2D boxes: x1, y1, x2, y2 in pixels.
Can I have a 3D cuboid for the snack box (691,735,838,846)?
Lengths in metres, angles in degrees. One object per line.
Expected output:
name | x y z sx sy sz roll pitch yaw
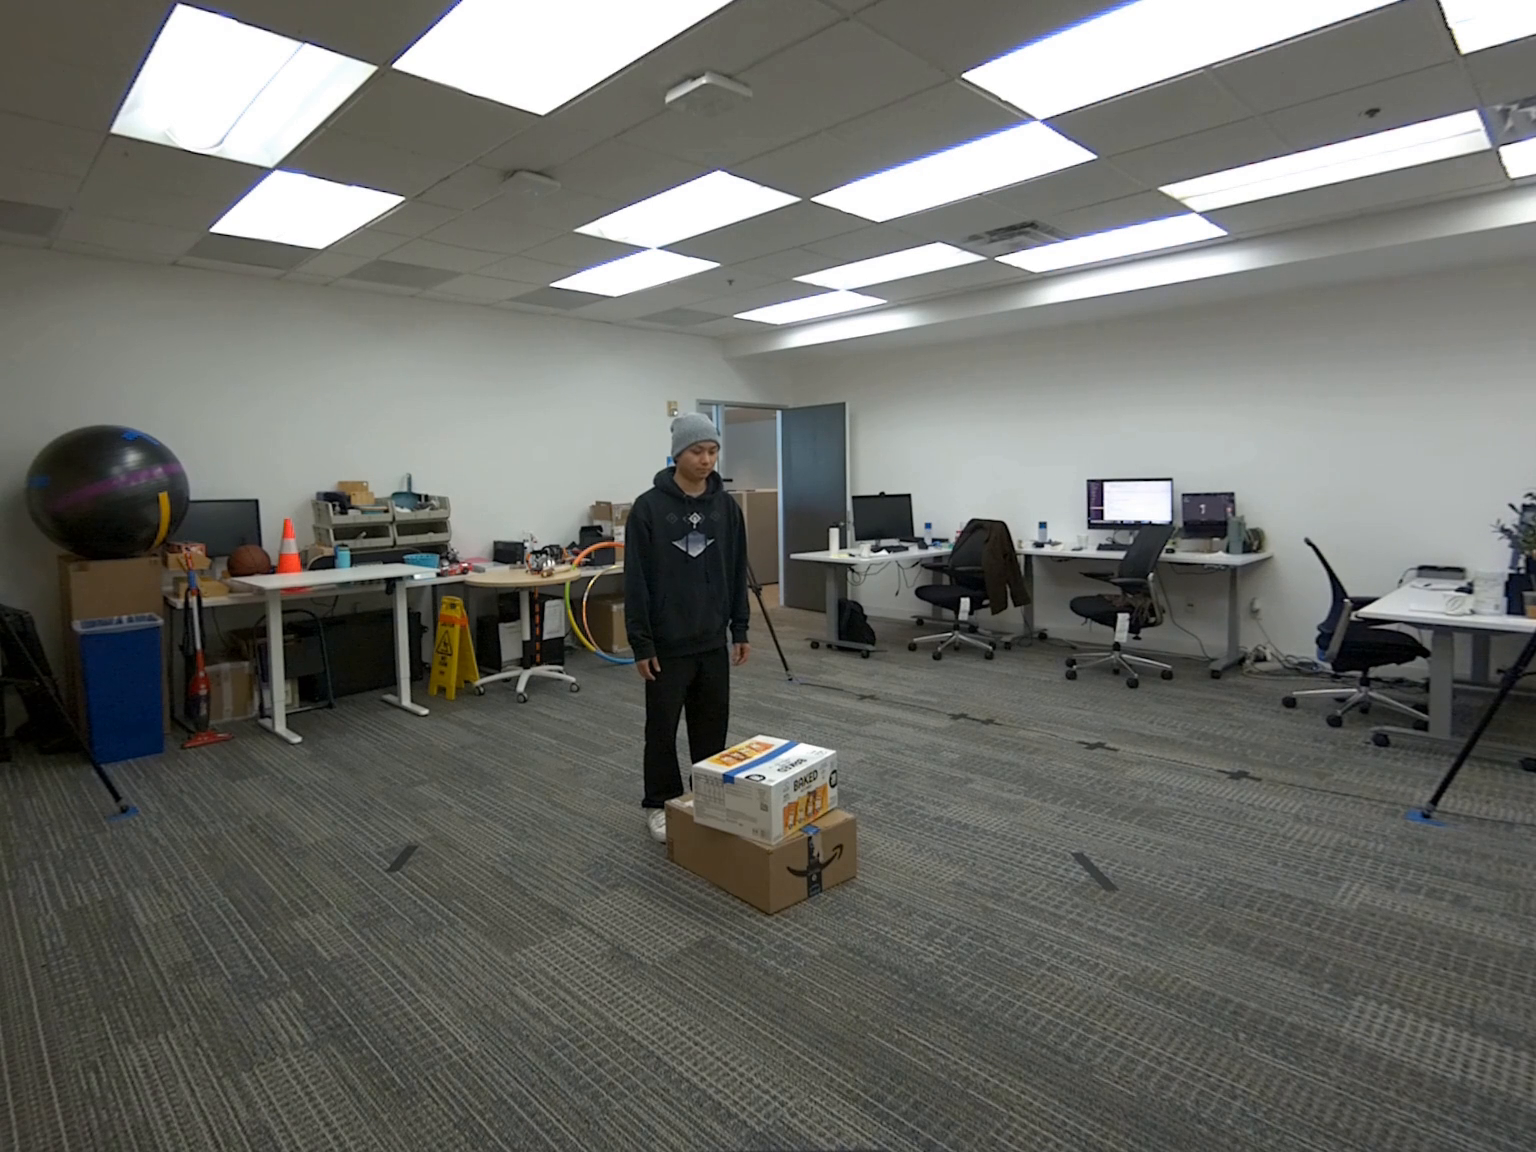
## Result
snack box | -0.004 0.738 2.994 0.350 0.205 0.395 3 8 37
